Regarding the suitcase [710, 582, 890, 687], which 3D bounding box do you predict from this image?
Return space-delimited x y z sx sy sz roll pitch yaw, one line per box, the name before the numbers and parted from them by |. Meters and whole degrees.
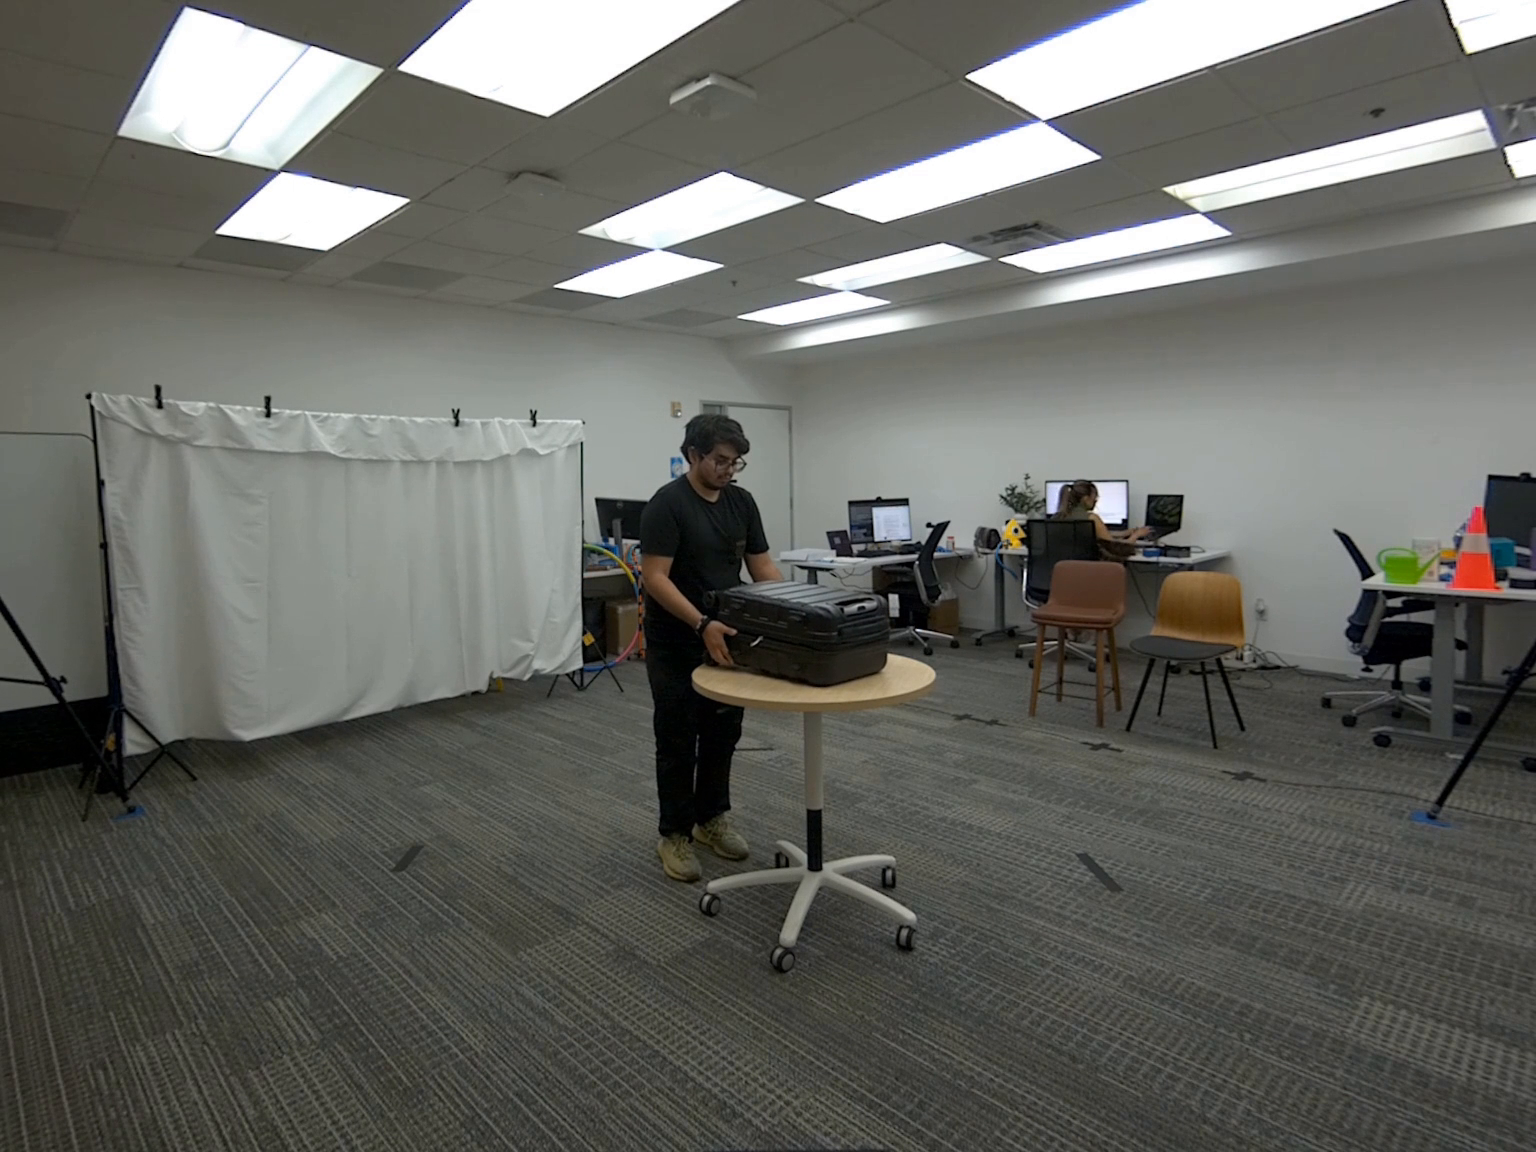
suitcase | 0.100 0.178 2.748 0.567 0.247 0.365 6 9 44
